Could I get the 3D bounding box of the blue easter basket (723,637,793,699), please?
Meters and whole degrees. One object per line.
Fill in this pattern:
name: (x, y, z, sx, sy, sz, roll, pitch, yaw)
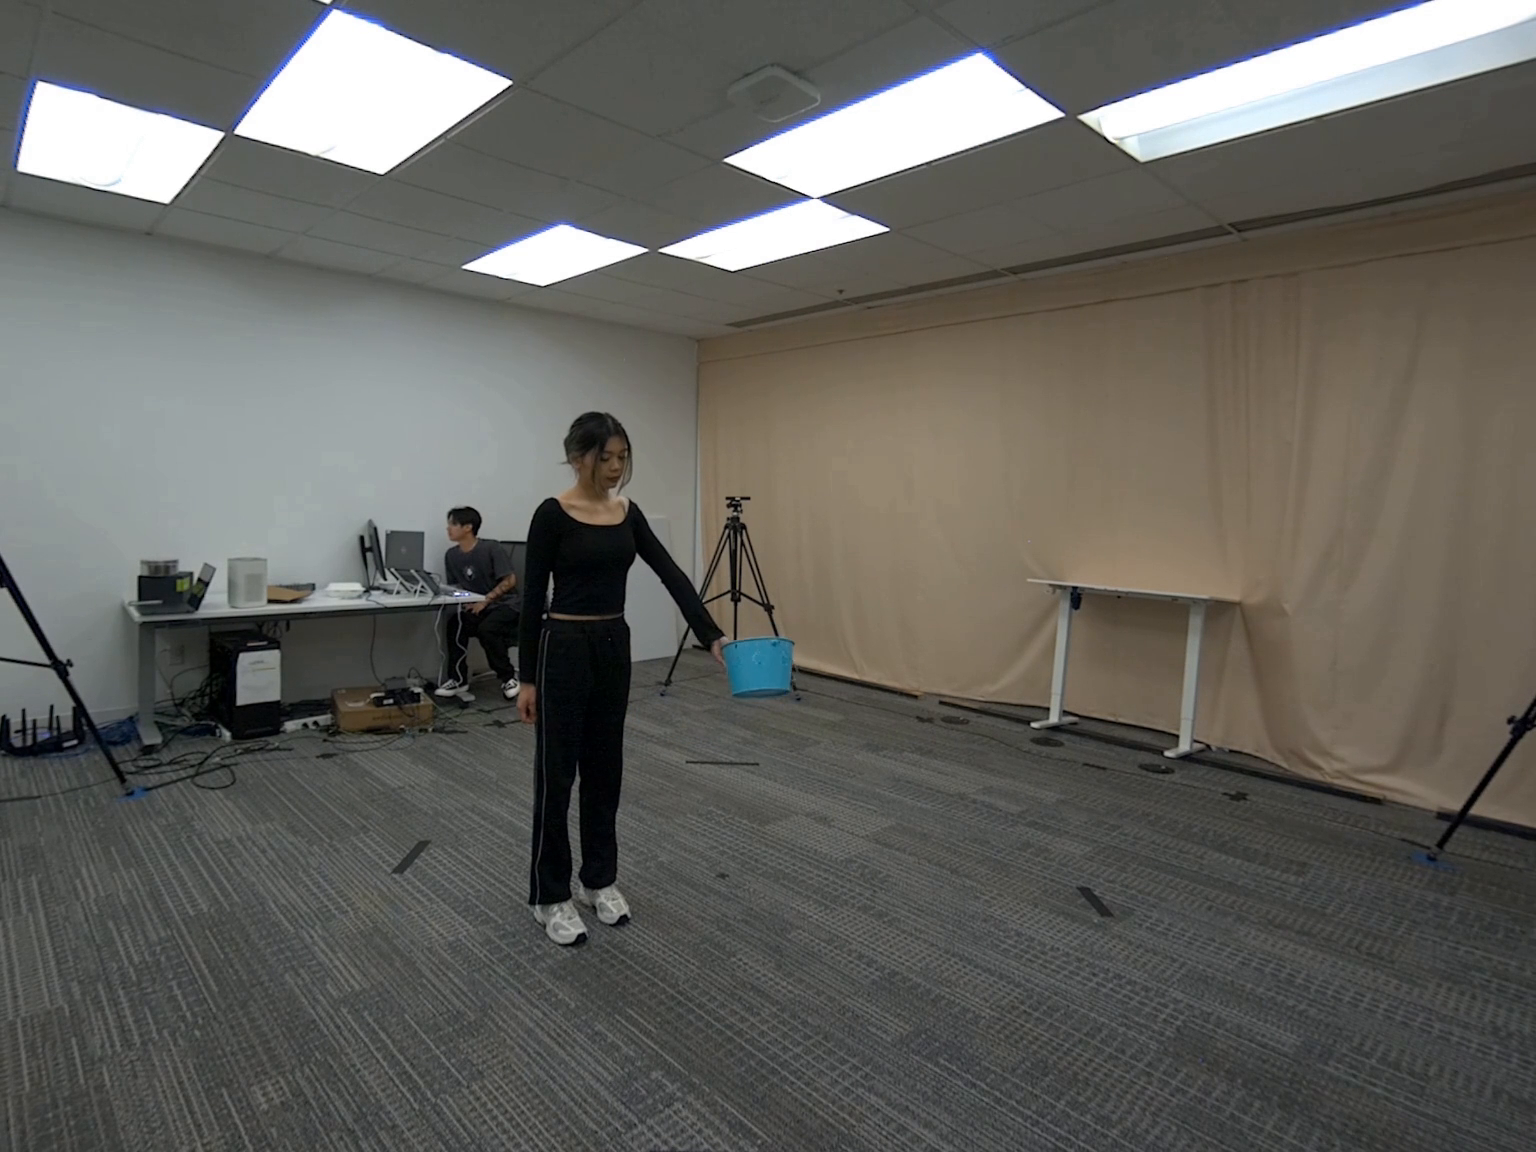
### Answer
blue easter basket: (-0.037, 0.292, 2.618, 0.243, 0.158, 0.241, -3, -16, -2)
